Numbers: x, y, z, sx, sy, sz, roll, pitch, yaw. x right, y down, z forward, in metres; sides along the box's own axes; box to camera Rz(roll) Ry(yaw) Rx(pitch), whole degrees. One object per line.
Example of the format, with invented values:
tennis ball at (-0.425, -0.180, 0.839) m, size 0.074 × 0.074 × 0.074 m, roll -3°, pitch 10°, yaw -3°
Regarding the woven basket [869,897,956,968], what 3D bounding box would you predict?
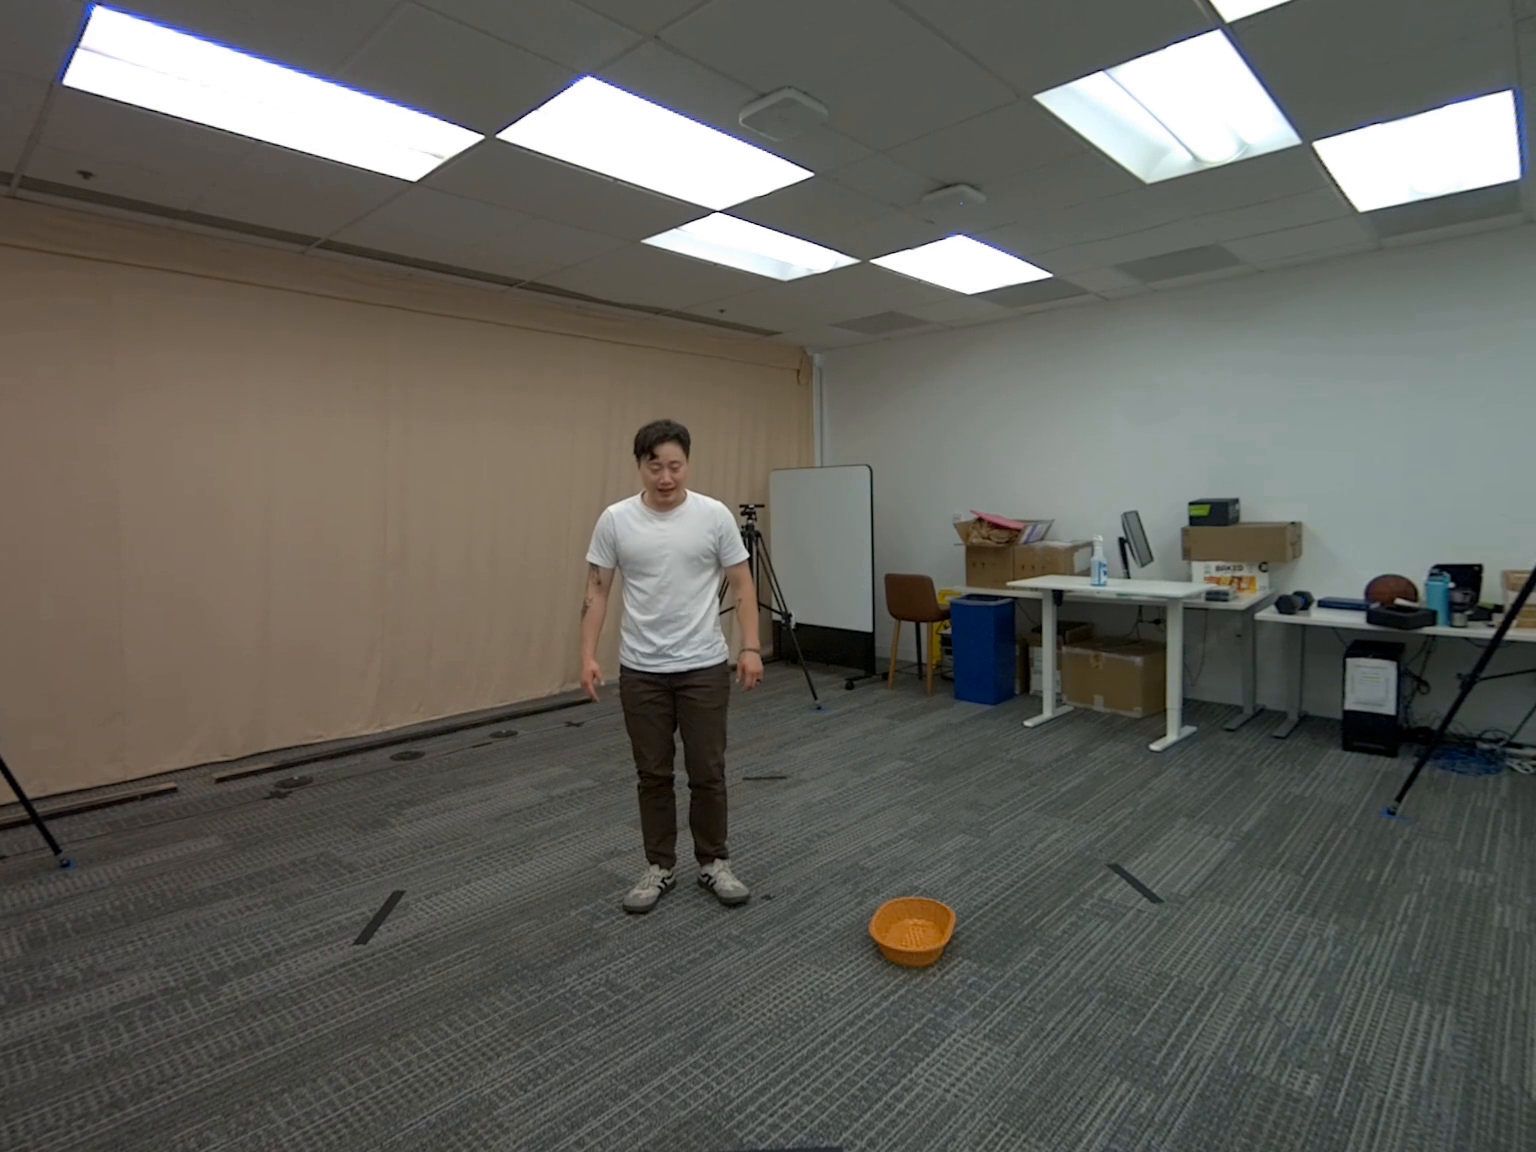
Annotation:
woven basket at (0.458, 1.121, 2.653) m, size 0.258 × 0.073 × 0.343 m, roll -1°, pitch 5°, yaw 24°
